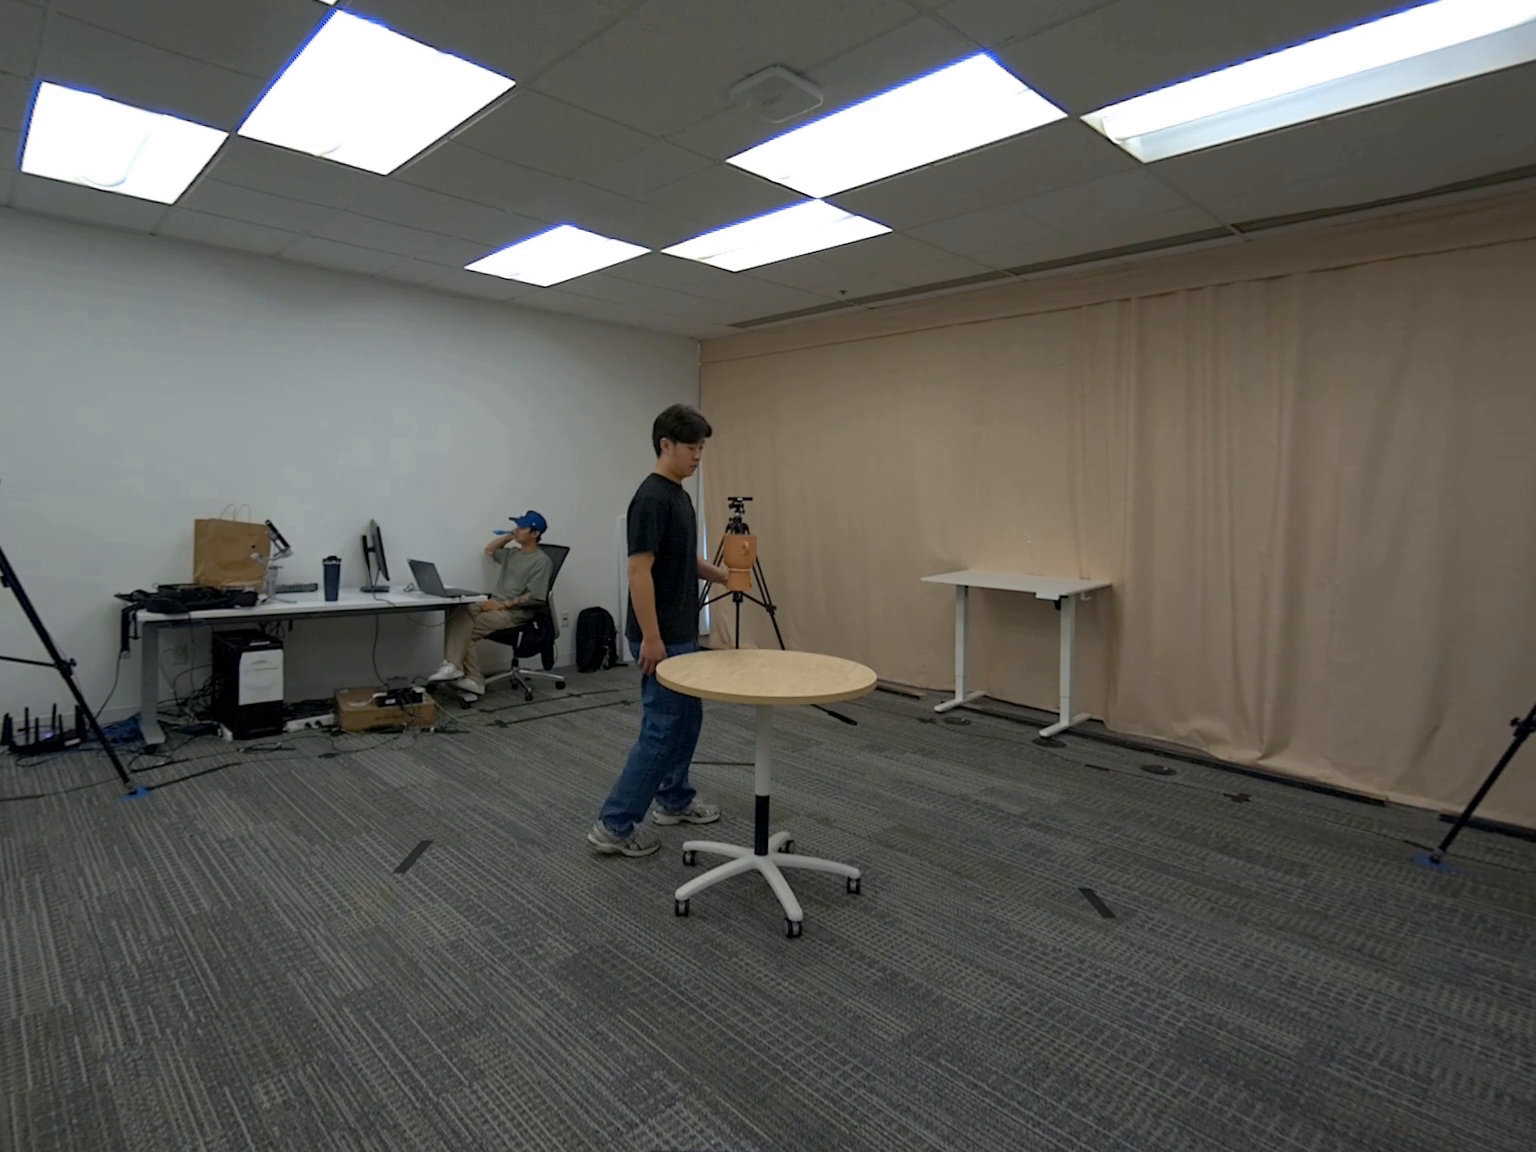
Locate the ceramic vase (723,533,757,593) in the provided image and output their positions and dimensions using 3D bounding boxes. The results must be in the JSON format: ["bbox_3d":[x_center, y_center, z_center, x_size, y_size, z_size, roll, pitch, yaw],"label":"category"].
[{"bbox_3d":[-0.128,-0.060,3.357,0.137,0.219,0.156,5,6,22],"label":"ceramic vase"}]
